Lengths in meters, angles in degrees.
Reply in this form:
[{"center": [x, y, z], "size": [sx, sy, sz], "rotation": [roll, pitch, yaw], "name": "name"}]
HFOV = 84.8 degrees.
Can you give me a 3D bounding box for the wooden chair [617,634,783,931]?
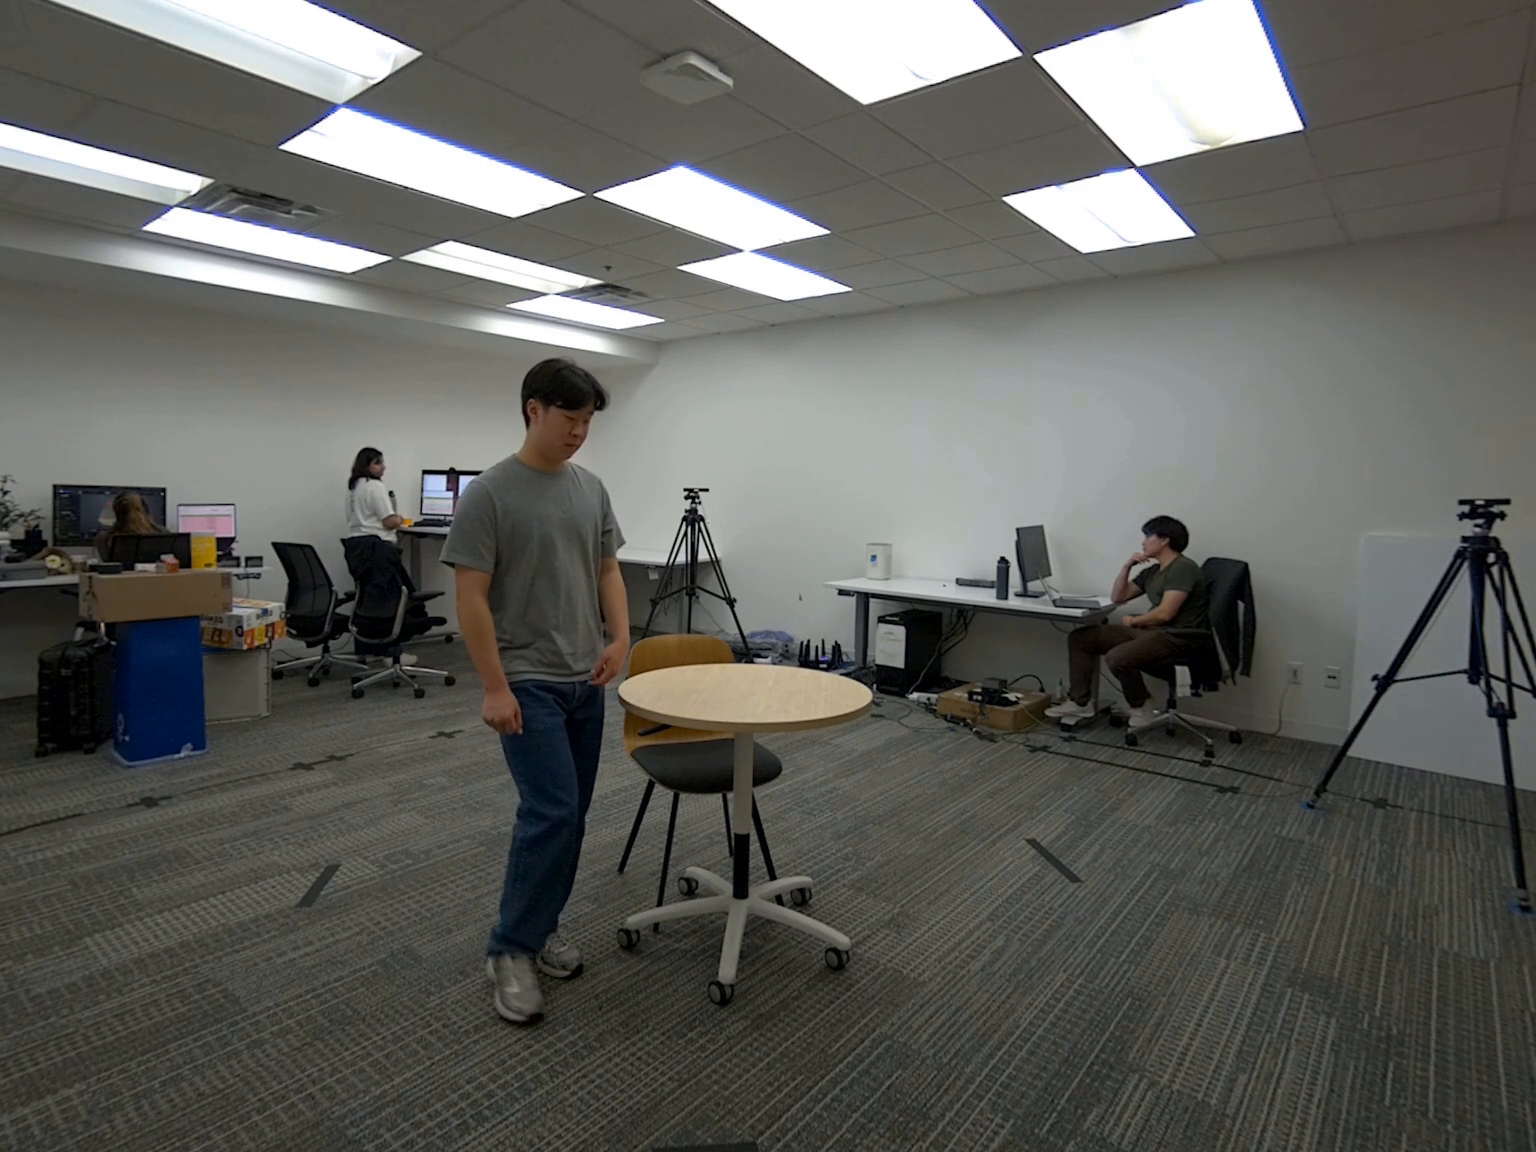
[{"center": [-0.245, 0.656, 2.915], "size": [0.467, 0.879, 0.534], "rotation": [0, -1, -23], "name": "wooden chair"}]
